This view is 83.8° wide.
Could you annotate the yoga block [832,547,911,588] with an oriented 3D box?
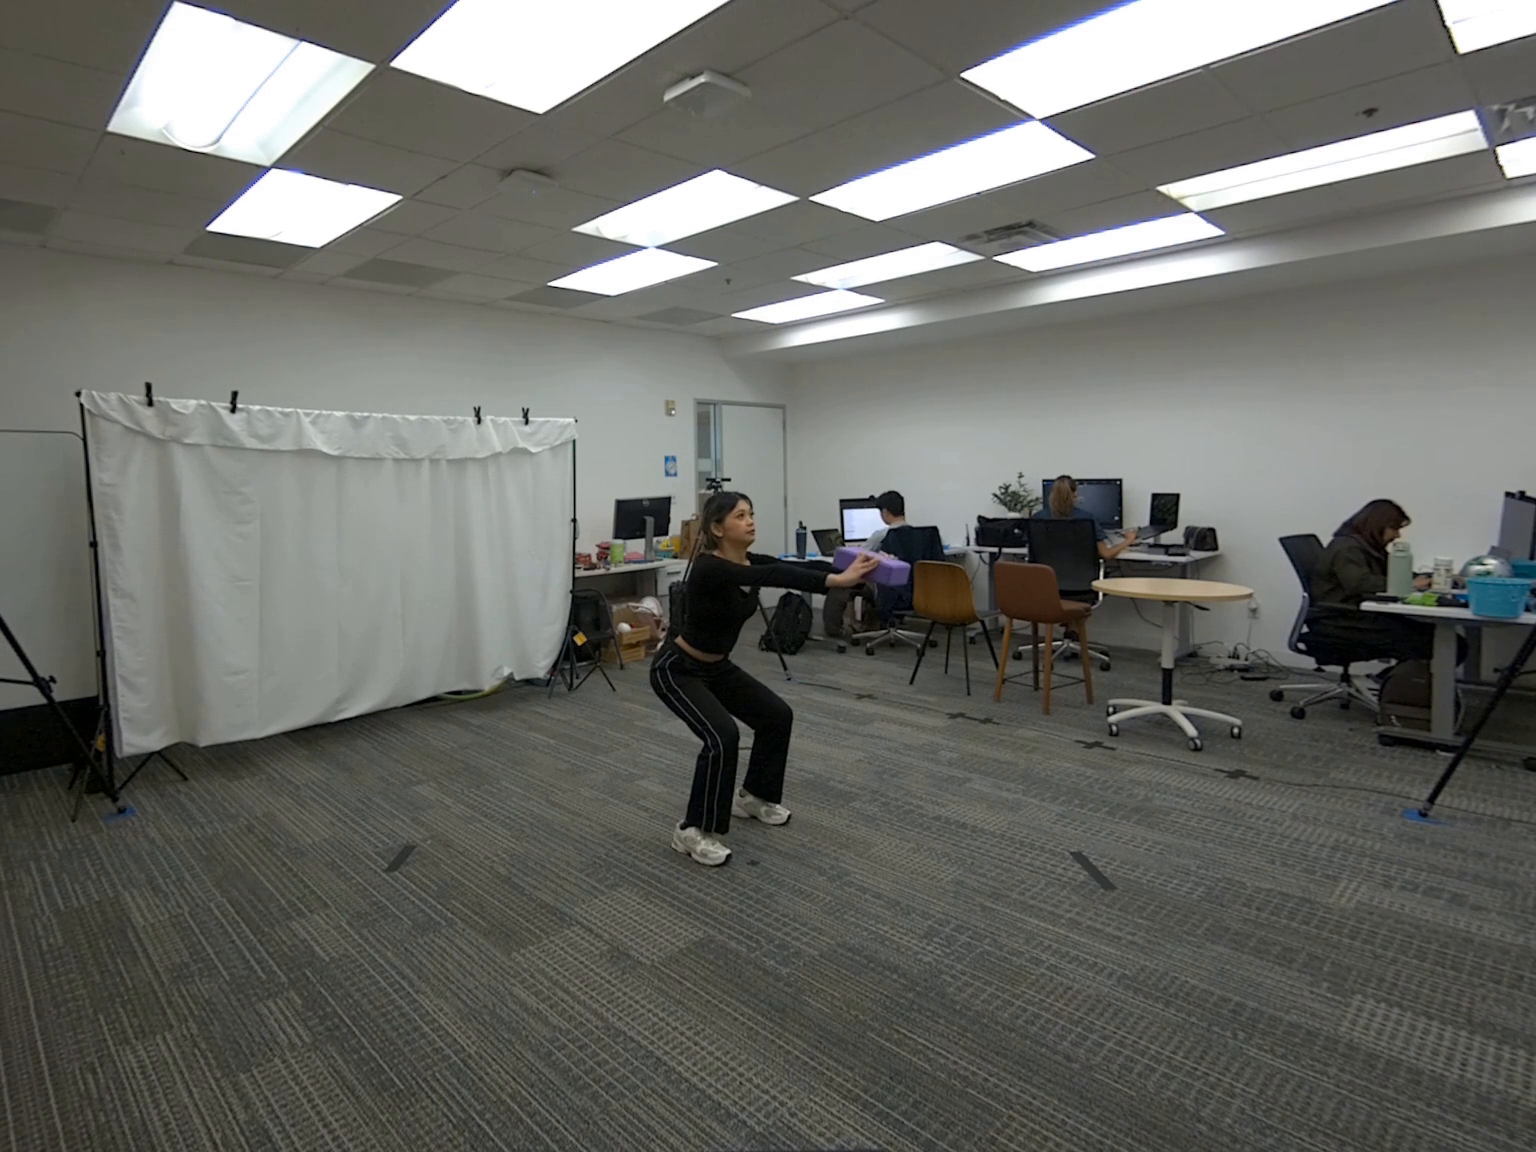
[{"bbox_3d":[0.371,-0.041,2.965,0.238,0.076,0.145,22,15,38],"label":"yoga block"}]
